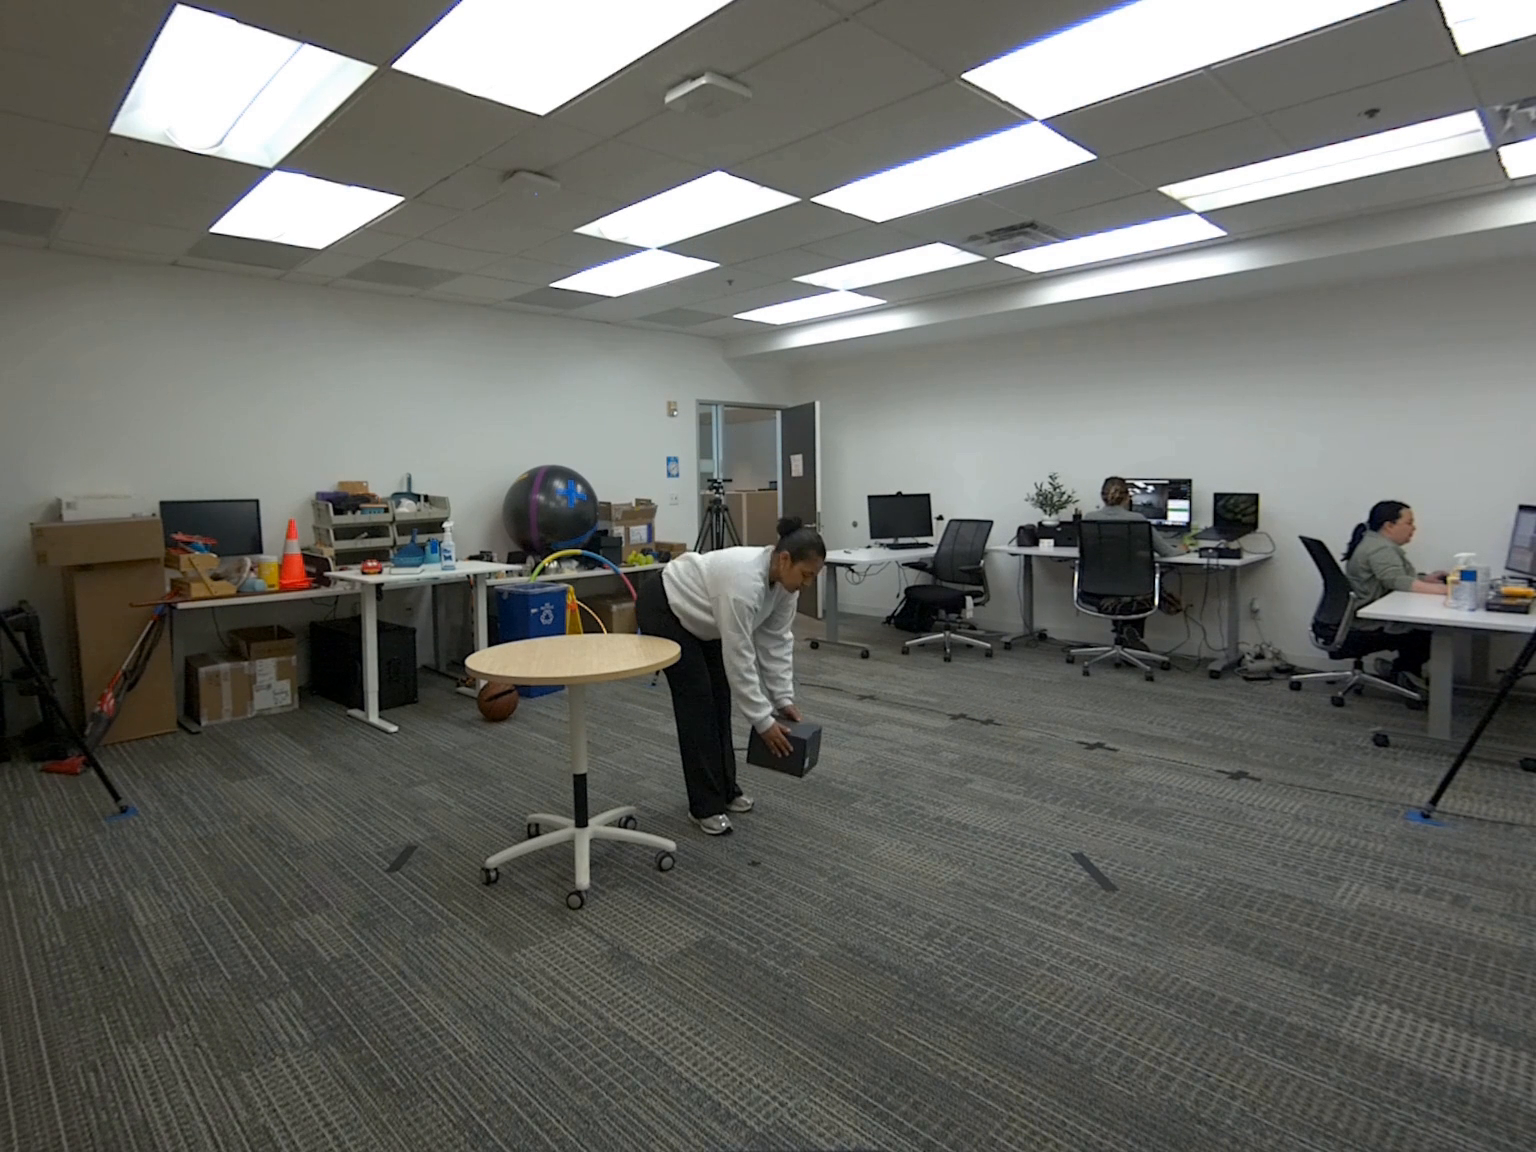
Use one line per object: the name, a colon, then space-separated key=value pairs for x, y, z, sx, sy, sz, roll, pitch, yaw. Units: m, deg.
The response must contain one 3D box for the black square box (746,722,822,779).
black square box: x=0.064 y=0.654 z=3.366 sx=0.233 sy=0.155 sz=0.213 roll=9 pitch=7 yaw=22
